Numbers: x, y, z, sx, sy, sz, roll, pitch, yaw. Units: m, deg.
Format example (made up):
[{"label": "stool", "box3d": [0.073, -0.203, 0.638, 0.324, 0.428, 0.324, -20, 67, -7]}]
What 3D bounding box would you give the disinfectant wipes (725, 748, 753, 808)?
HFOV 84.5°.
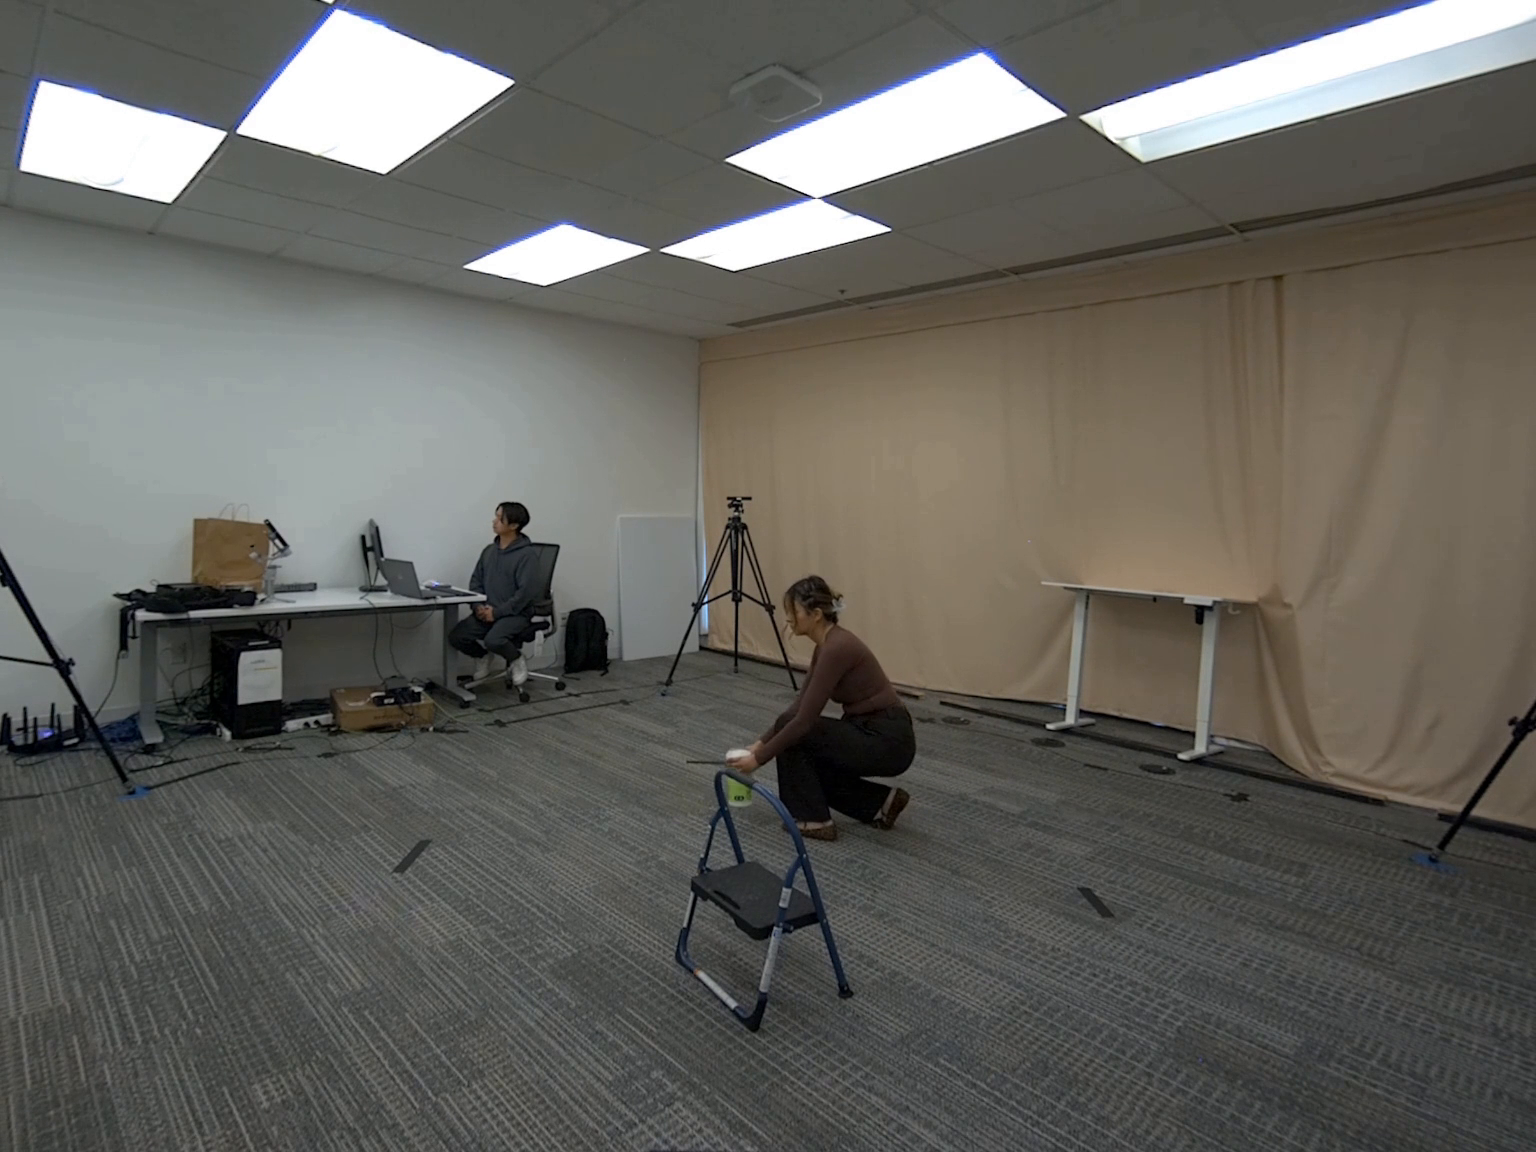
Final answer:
[{"label": "disinfectant wipes", "box3d": [-0.130, 0.844, 3.562, 0.118, 0.217, 0.118, -5, 4, -1]}]
